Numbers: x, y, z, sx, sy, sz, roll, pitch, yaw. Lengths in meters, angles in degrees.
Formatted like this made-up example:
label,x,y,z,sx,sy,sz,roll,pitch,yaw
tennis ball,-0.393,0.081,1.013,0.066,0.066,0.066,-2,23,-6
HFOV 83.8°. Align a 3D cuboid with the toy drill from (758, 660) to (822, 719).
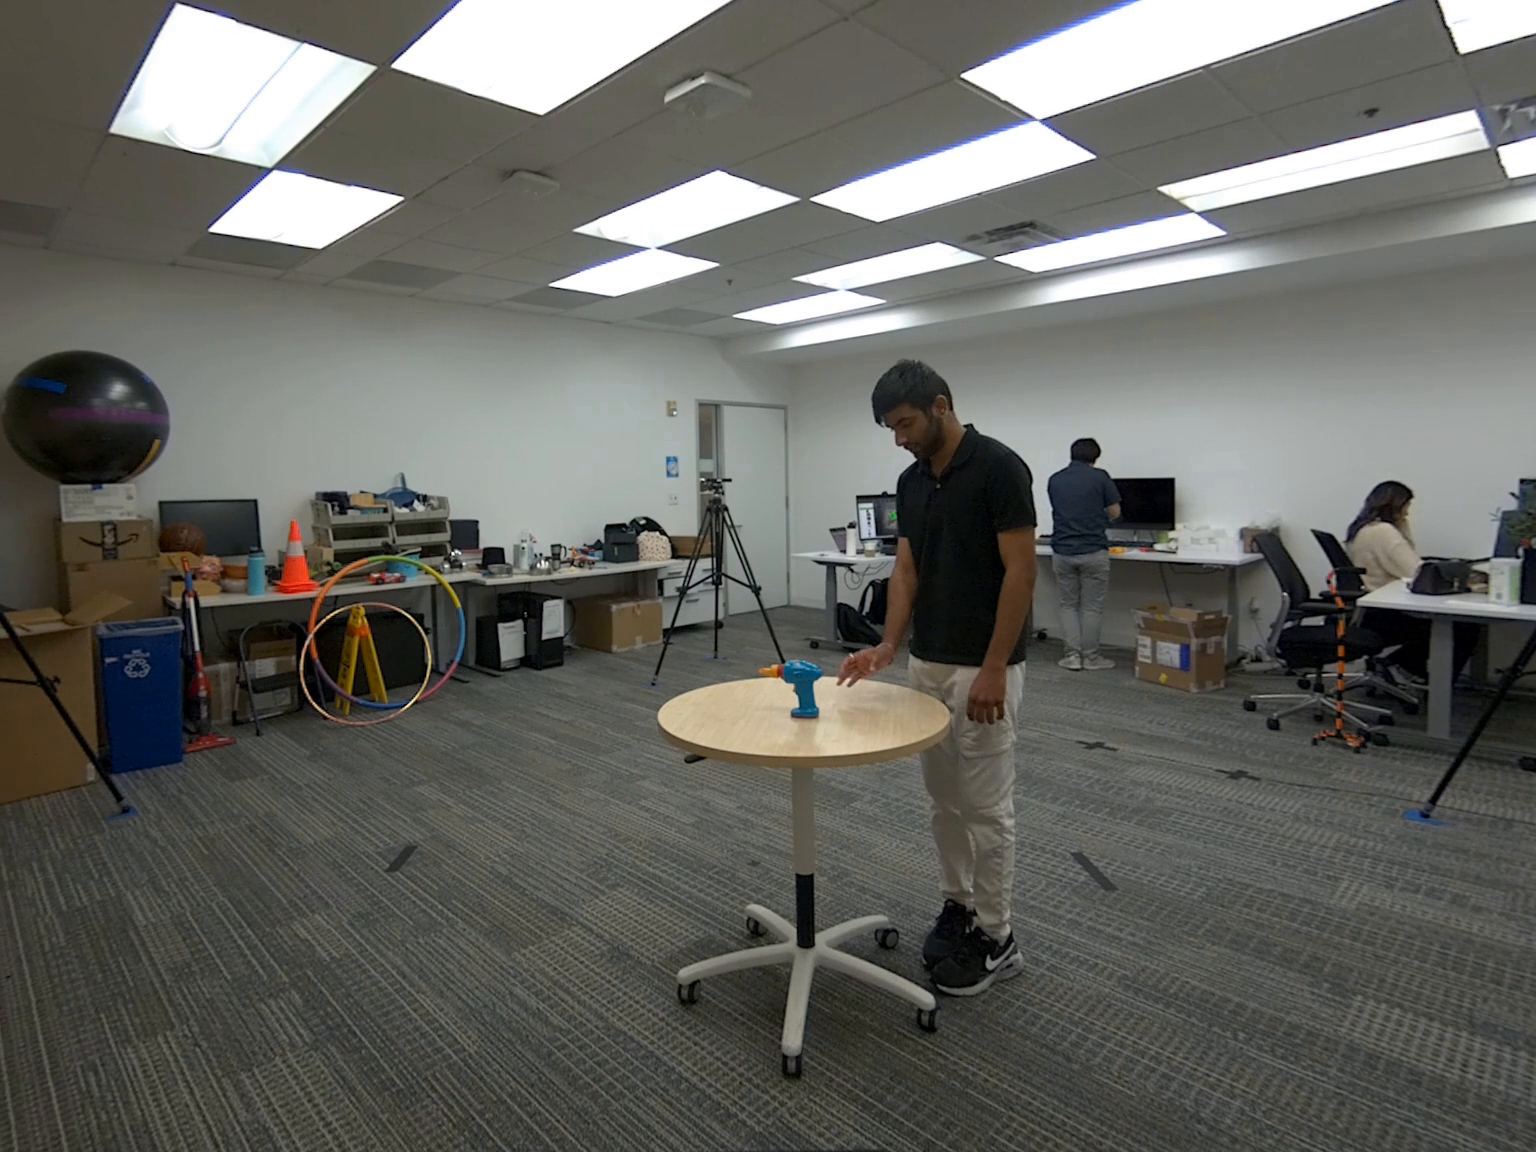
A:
label,x,y,z,sx,sy,sz,roll,pitch,yaw
toy drill,0.074,0.290,2.207,0.171,0.145,0.061,0,4,11
